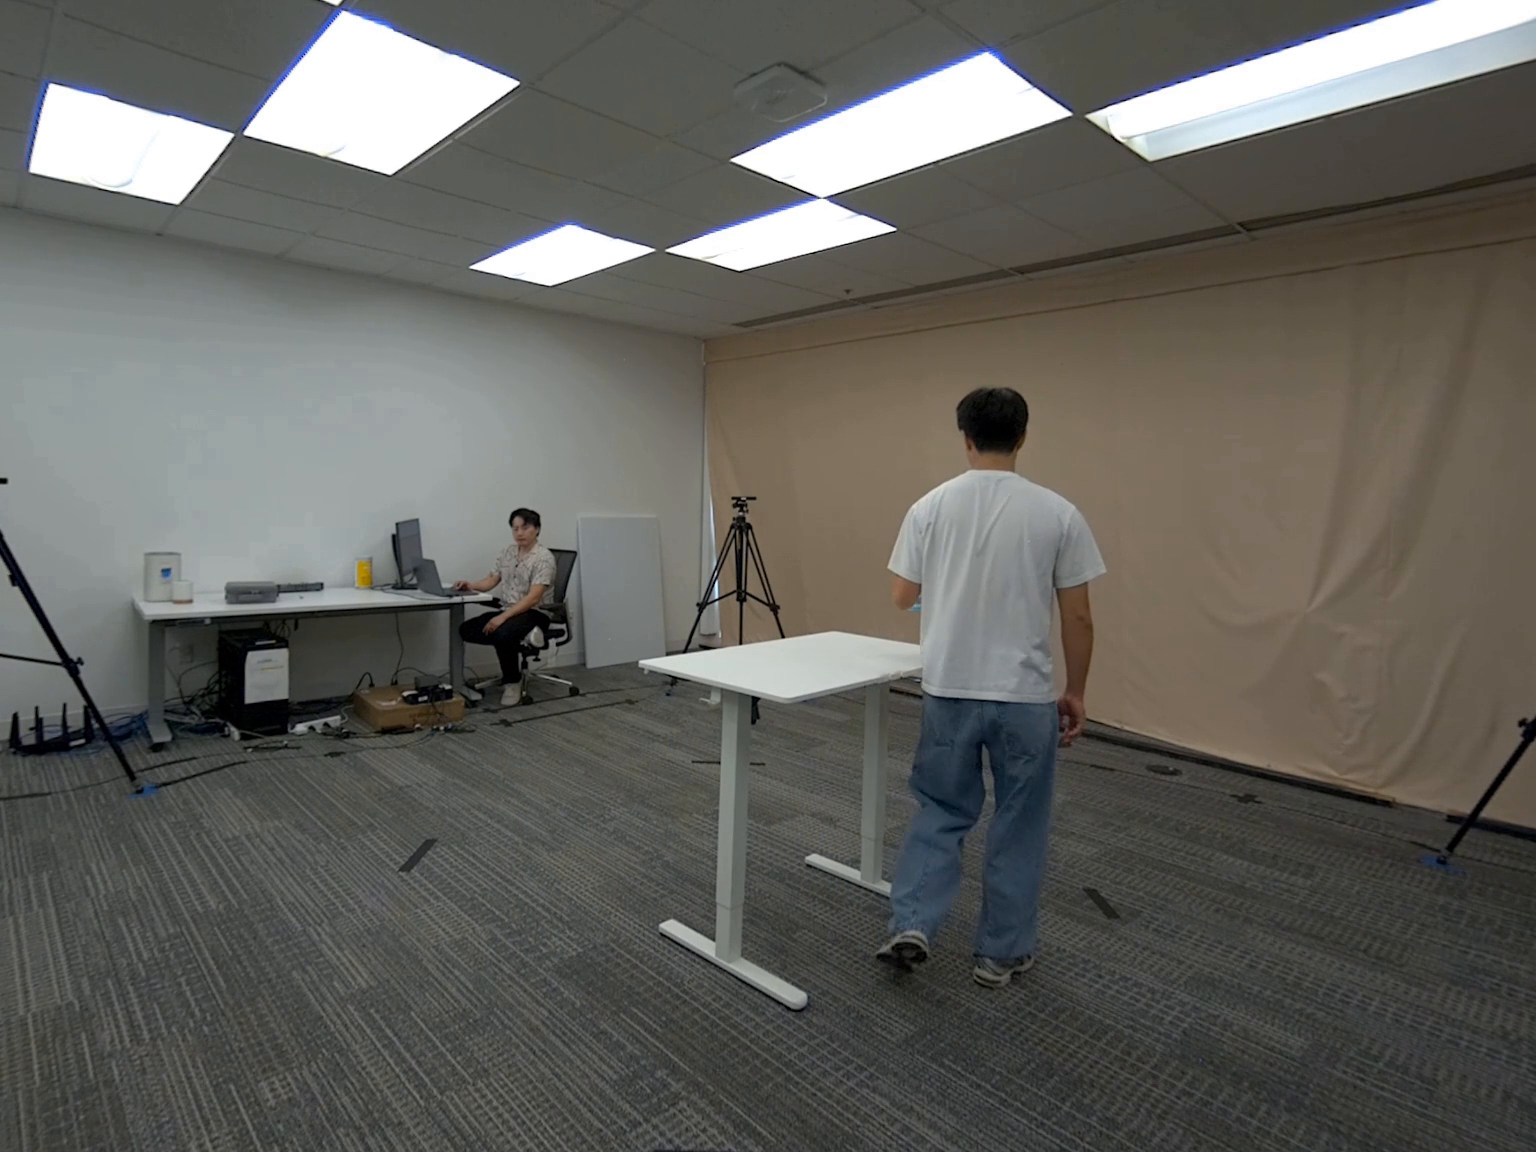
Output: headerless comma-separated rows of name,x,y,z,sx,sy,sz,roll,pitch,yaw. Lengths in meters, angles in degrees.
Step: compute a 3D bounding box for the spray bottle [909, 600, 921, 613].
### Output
spray bottle,0.490,-0.029,2.810,0.086,0.296,0.091,-8,4,-13
